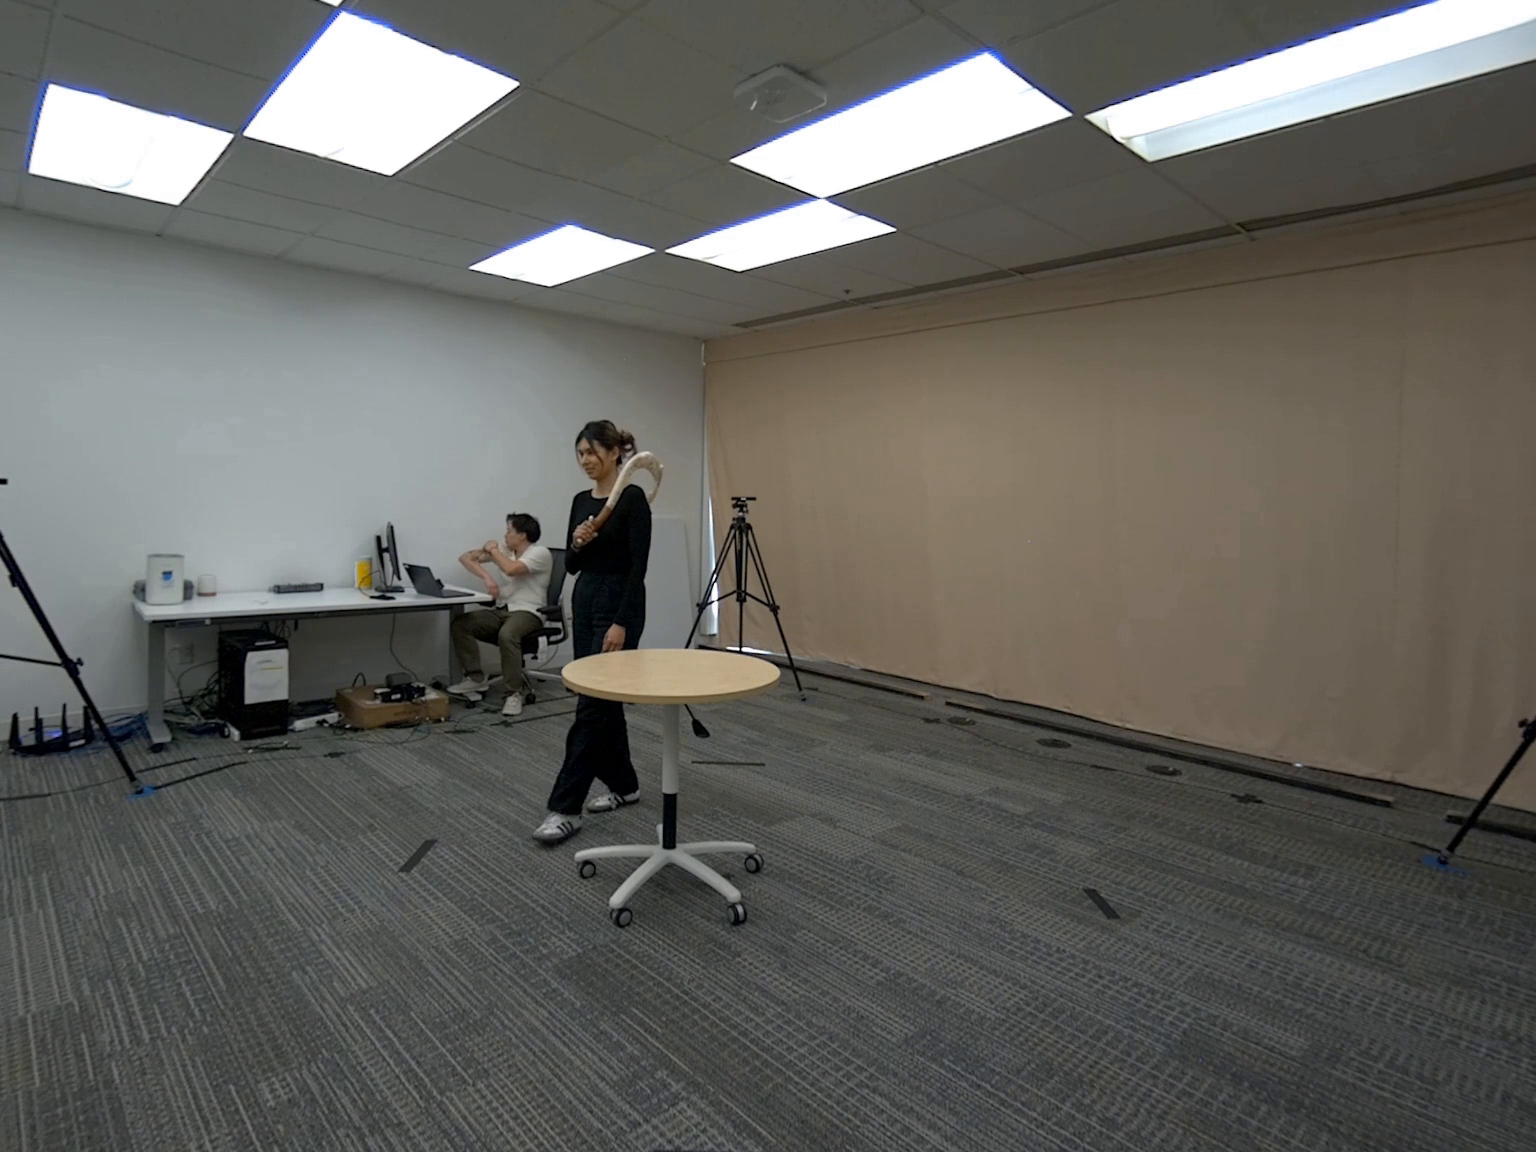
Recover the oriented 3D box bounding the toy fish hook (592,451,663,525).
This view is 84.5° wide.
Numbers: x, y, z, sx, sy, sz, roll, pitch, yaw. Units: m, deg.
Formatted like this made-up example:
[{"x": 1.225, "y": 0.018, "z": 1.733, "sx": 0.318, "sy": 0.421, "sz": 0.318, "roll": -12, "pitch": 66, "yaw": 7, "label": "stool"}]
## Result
[{"x": -0.627, "y": -0.302, "z": 3.568, "sx": 0.050, "sy": 0.508, "sz": 0.218, "roll": 16, "pitch": -24, "yaw": 47, "label": "toy fish hook"}]
